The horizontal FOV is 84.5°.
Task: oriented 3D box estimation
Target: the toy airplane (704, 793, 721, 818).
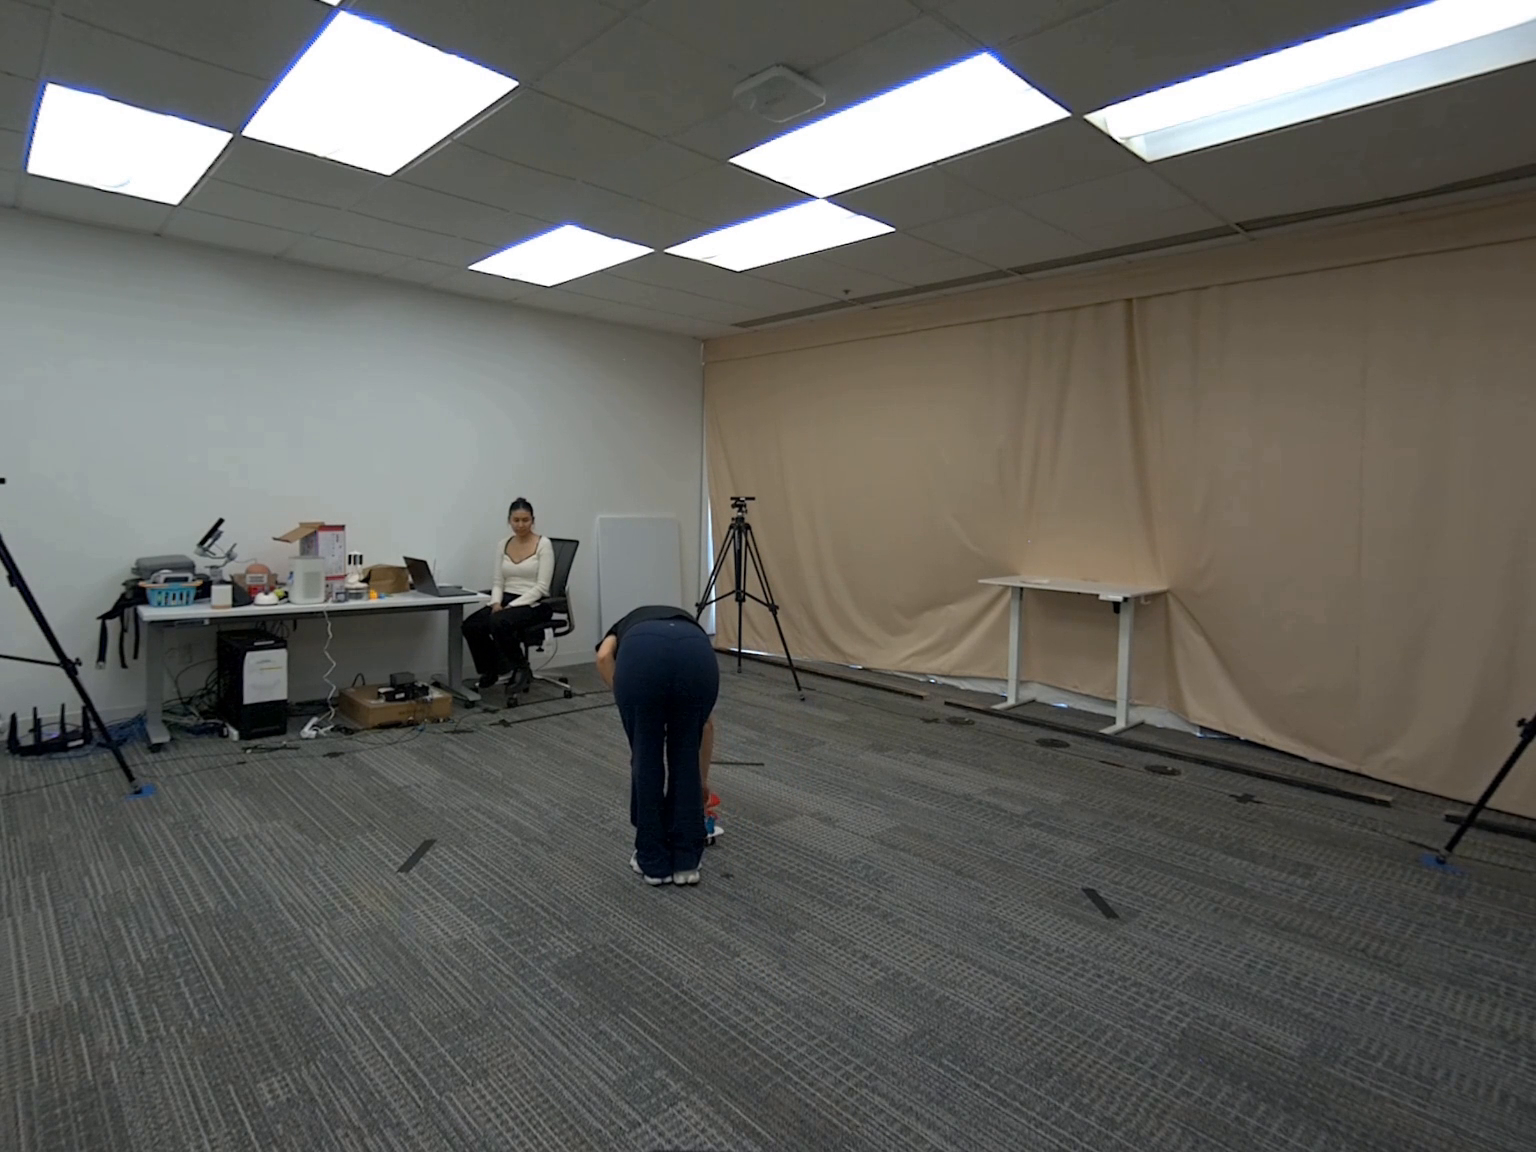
[{"bbox_3d":[-0.287,1.005,3.439,0.264,0.156,0.247,1,4,25],"label":"toy airplane"}]
